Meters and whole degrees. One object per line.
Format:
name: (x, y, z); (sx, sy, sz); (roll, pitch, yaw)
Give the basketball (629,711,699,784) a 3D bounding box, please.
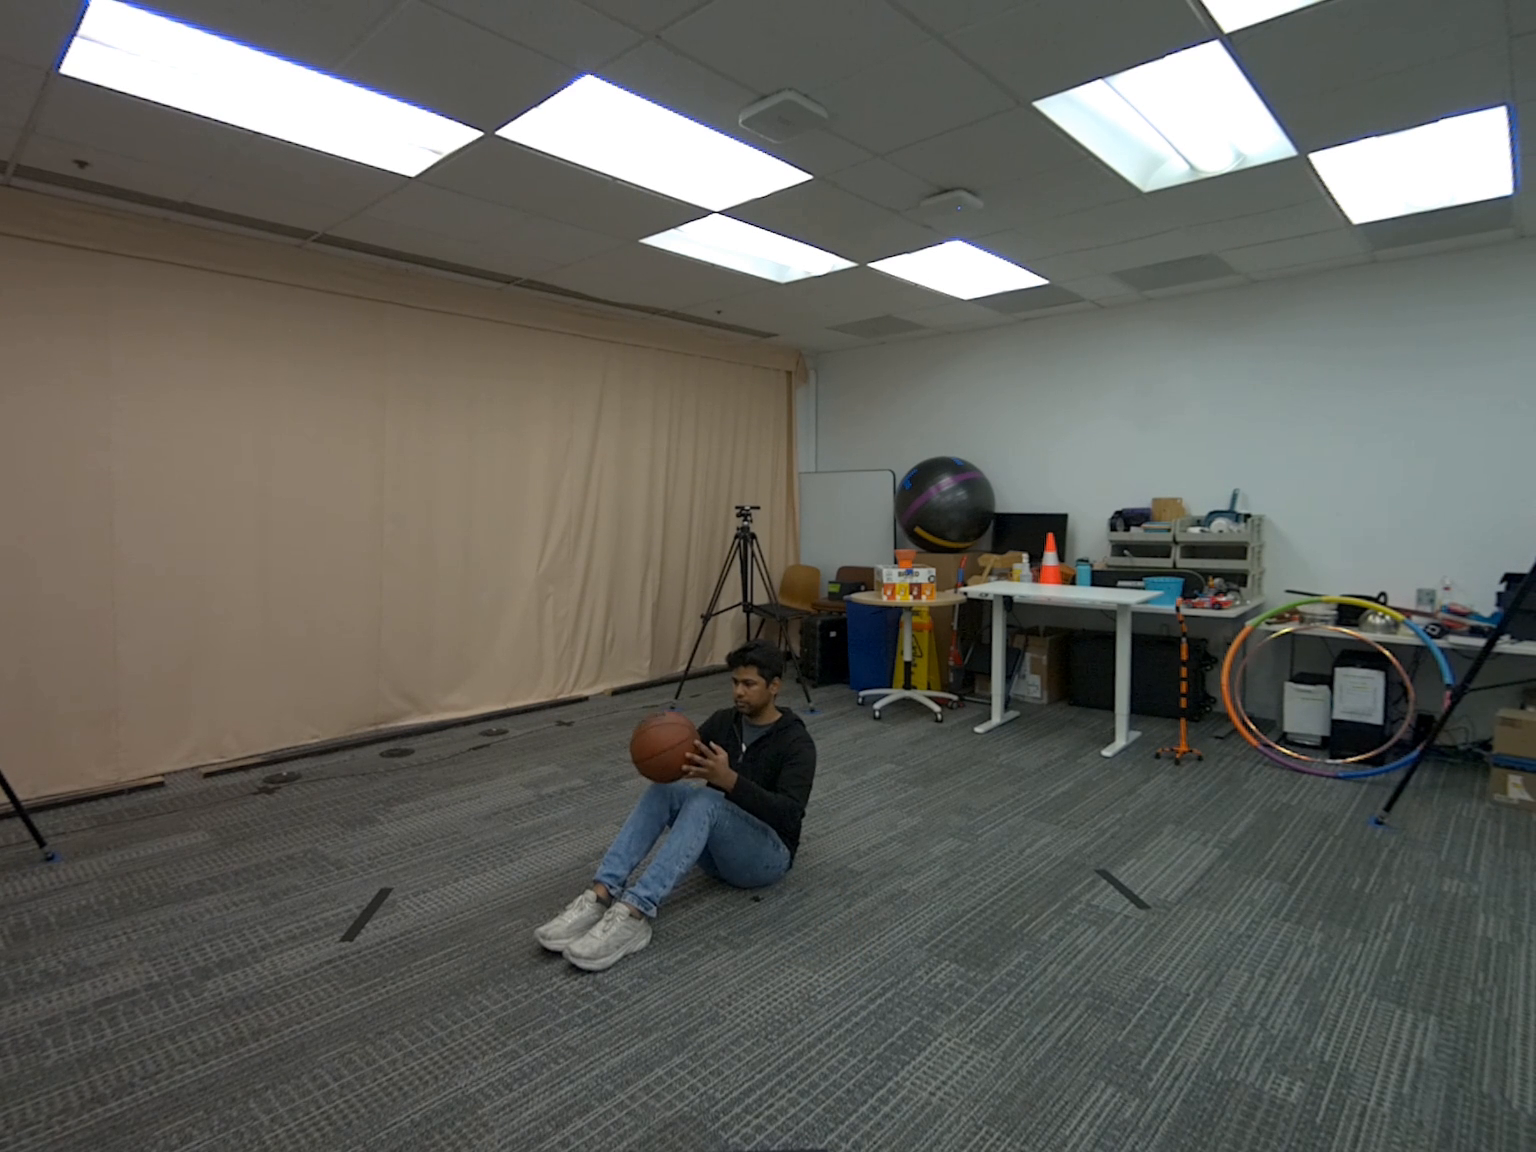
basketball: (-0.335, 0.584, 2.838); (0.236, 0.235, 0.237); (0, 4, -2)
